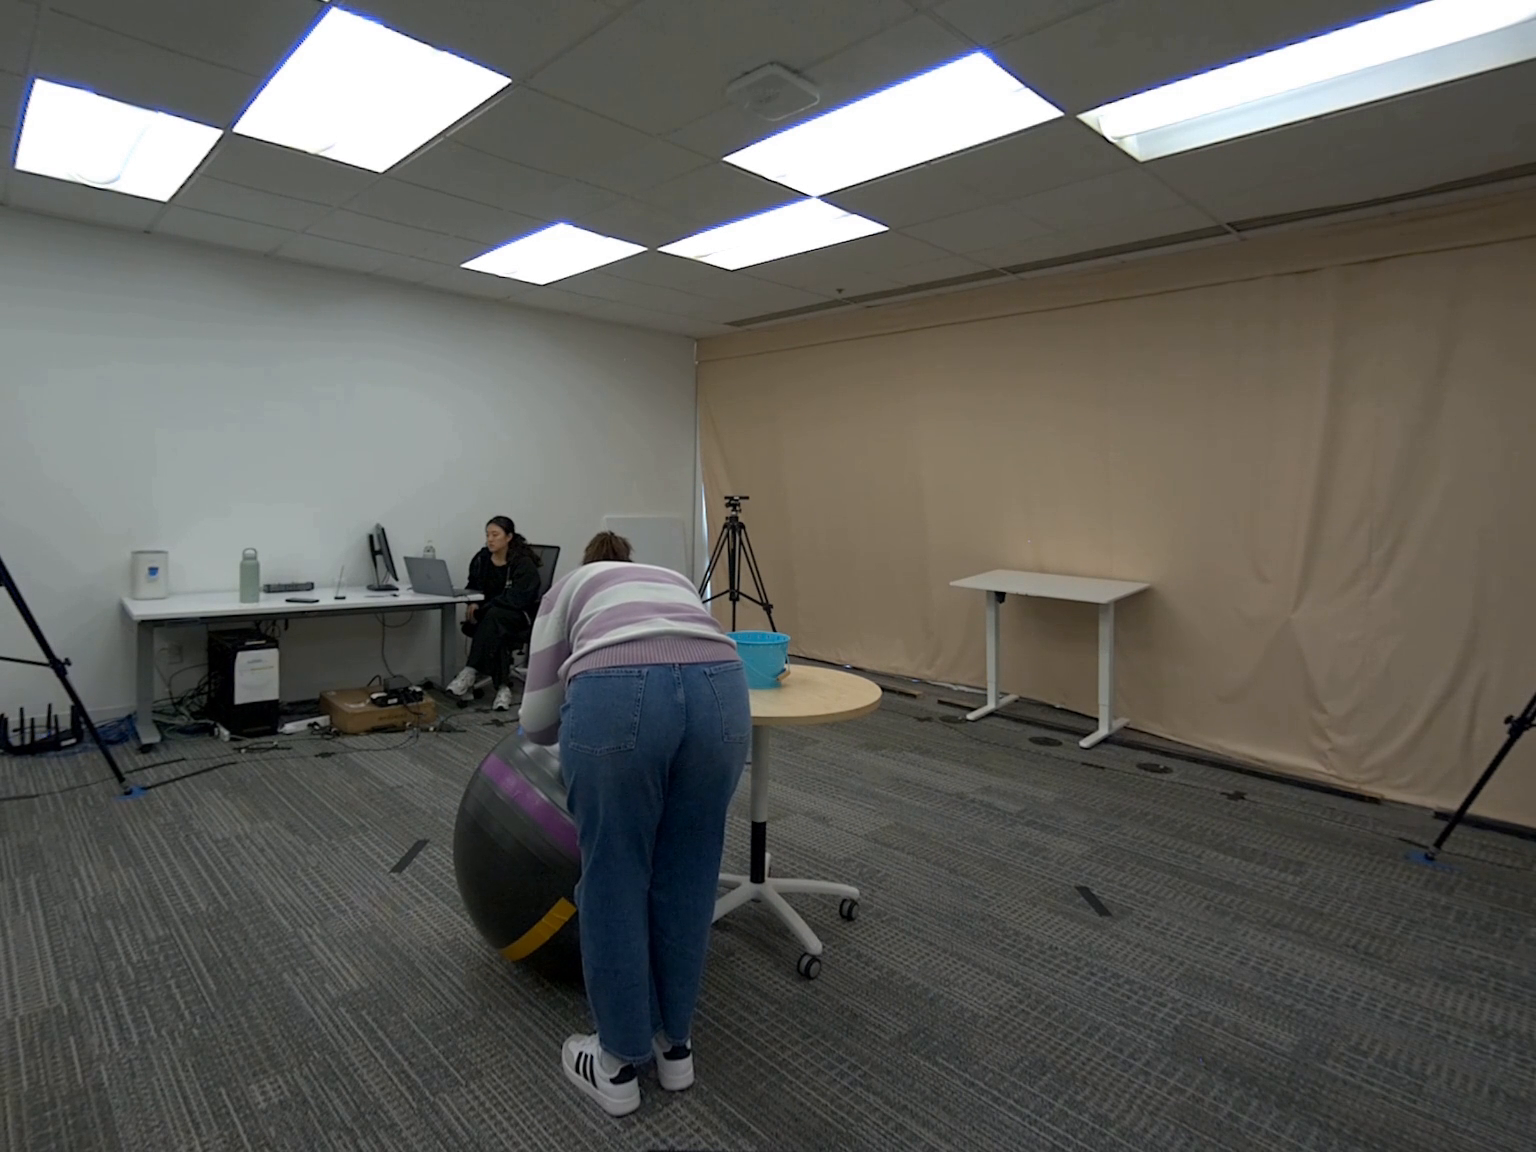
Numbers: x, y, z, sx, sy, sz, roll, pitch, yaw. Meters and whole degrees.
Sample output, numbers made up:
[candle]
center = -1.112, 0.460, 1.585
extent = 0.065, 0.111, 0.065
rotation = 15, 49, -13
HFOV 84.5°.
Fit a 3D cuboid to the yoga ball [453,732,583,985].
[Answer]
[yoga ball]
center = -0.568, 0.780, 2.519
extent = 0.757, 0.756, 0.761
rotation = 1, 4, -1
